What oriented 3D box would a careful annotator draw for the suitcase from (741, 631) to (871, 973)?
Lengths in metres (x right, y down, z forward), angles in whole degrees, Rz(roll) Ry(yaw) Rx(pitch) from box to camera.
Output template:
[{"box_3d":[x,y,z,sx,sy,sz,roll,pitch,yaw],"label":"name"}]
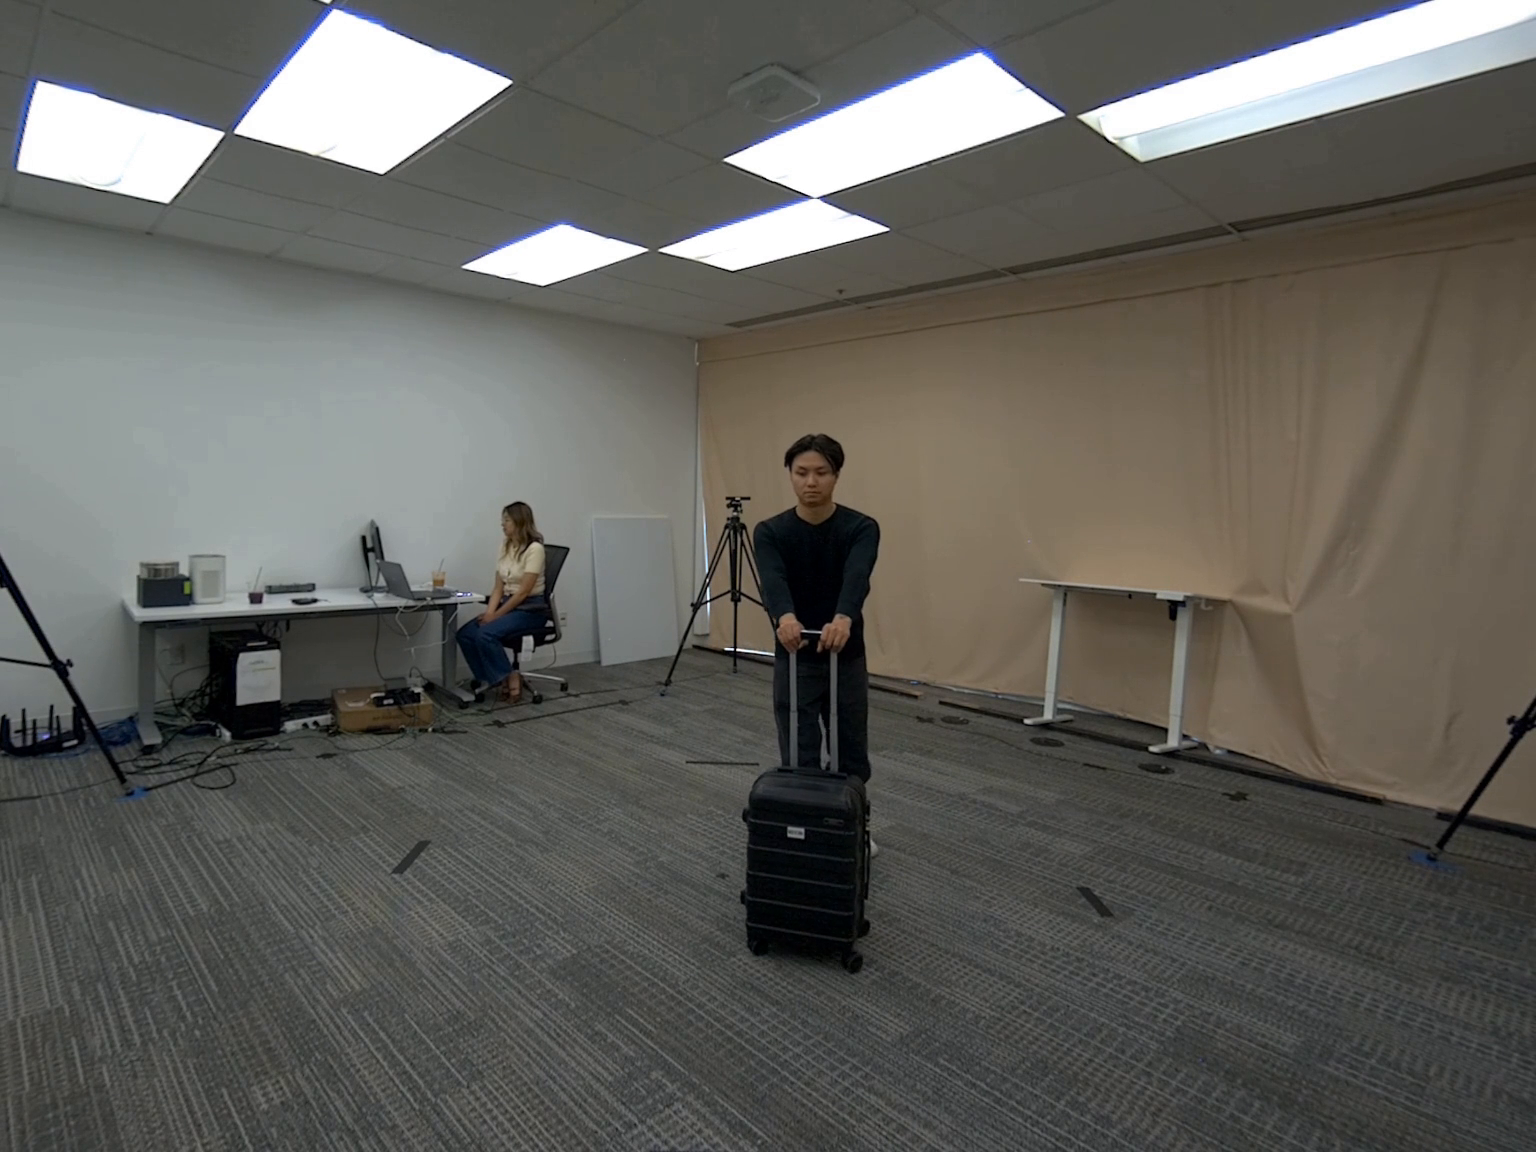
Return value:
[{"box_3d":[0.116,0.688,2.590,0.389,0.973,0.255,1,8,15],"label":"suitcase"}]
